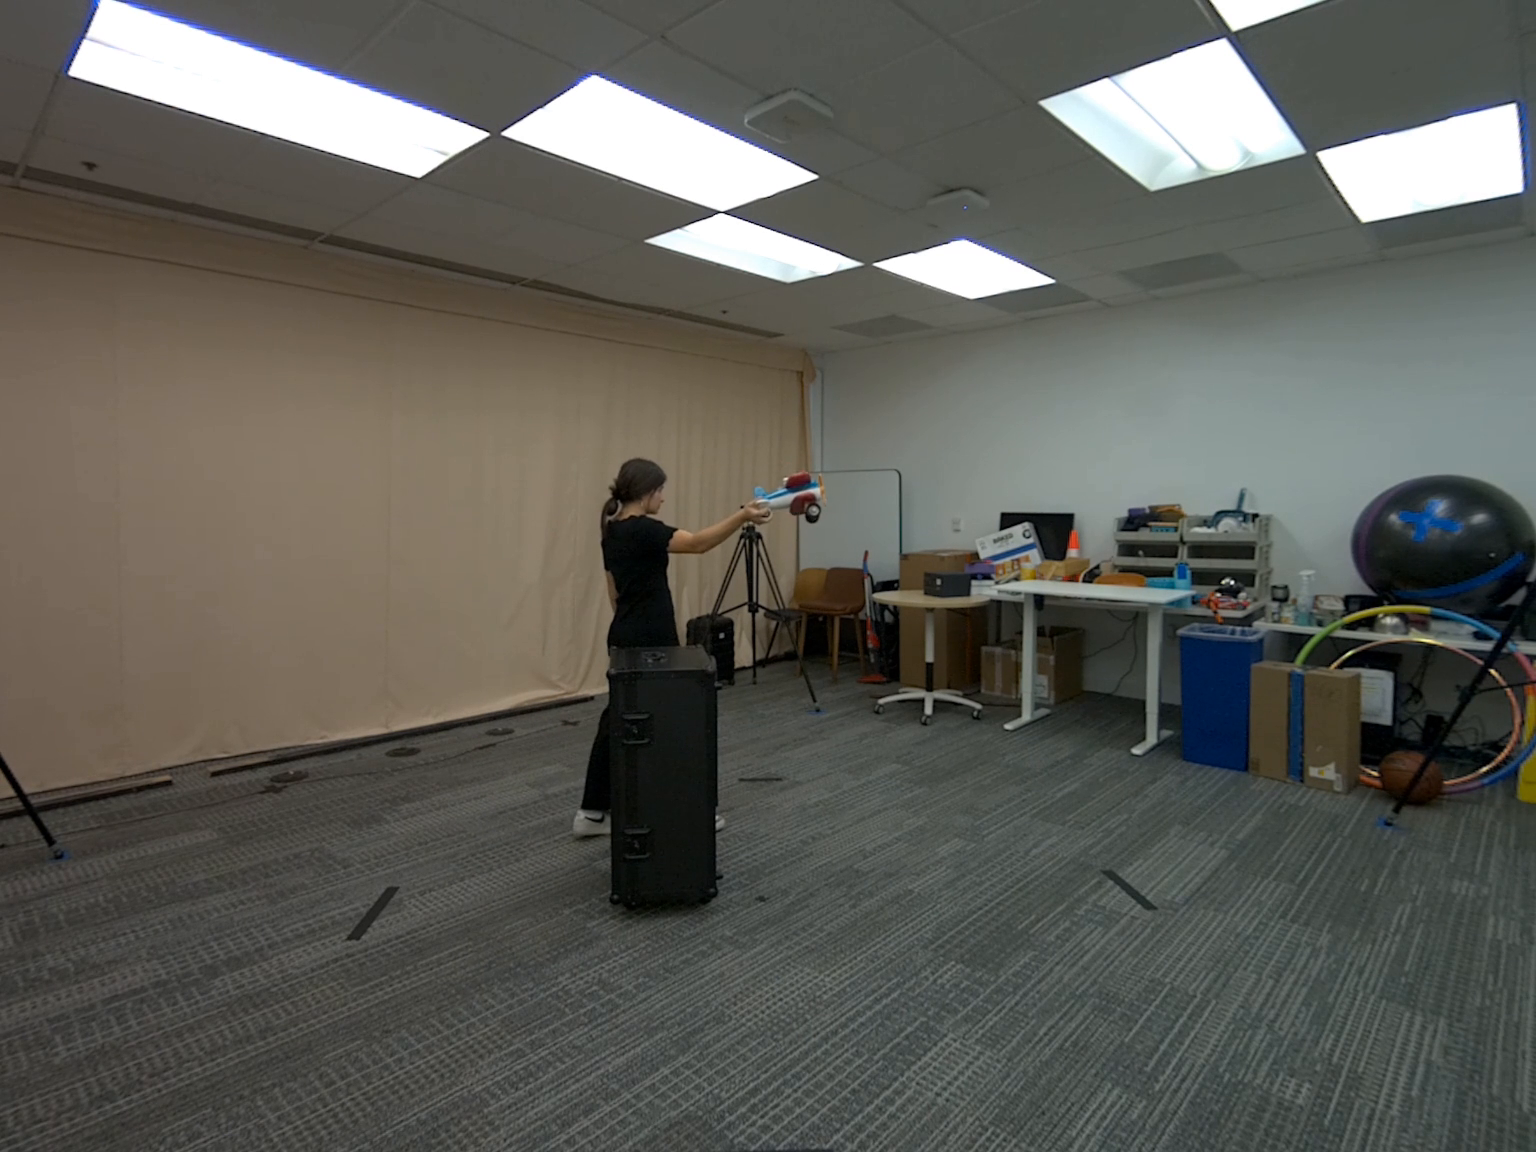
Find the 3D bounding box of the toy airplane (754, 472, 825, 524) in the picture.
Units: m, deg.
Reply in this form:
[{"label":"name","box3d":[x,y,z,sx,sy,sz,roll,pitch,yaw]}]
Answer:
[{"label":"toy airplane","box3d":[0.081,-0.288,3.109,0.252,0.157,0.256,7,-13,-26]}]
